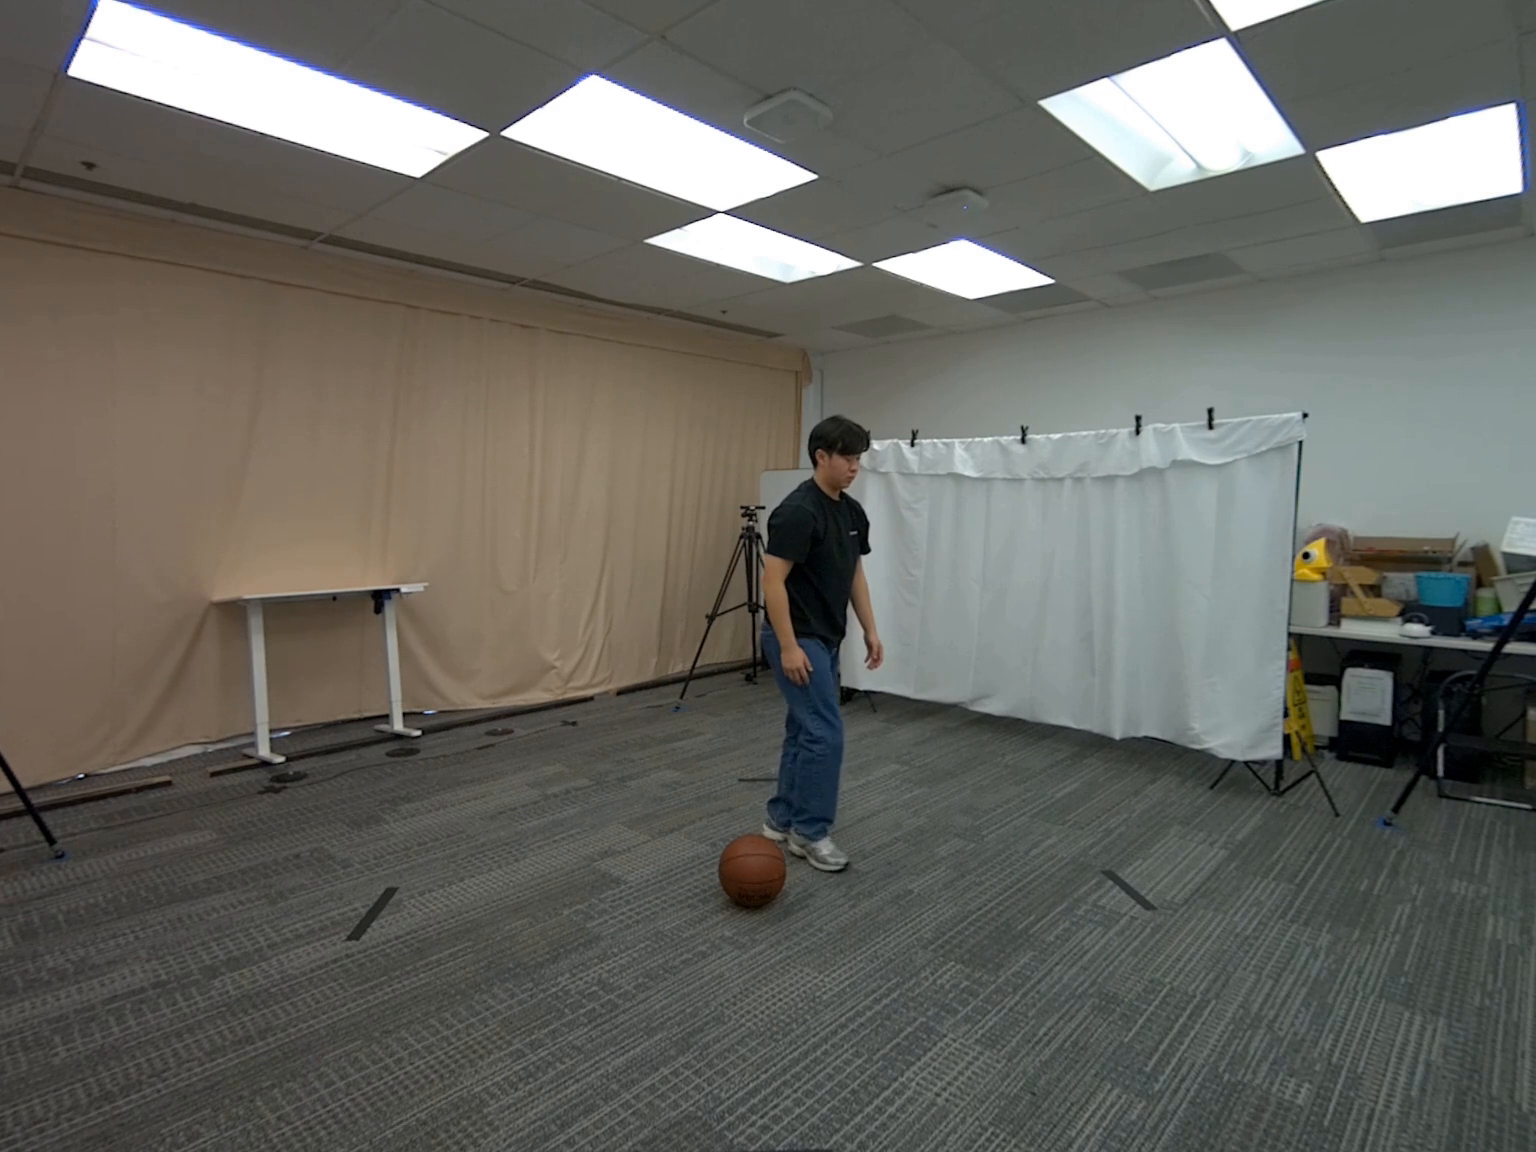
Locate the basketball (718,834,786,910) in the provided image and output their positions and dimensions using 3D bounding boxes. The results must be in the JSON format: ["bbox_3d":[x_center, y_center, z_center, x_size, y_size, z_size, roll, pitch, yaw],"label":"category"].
[{"bbox_3d":[-0.053,1.026,2.943,0.236,0.235,0.237,0,4,-2],"label":"basketball"}]
